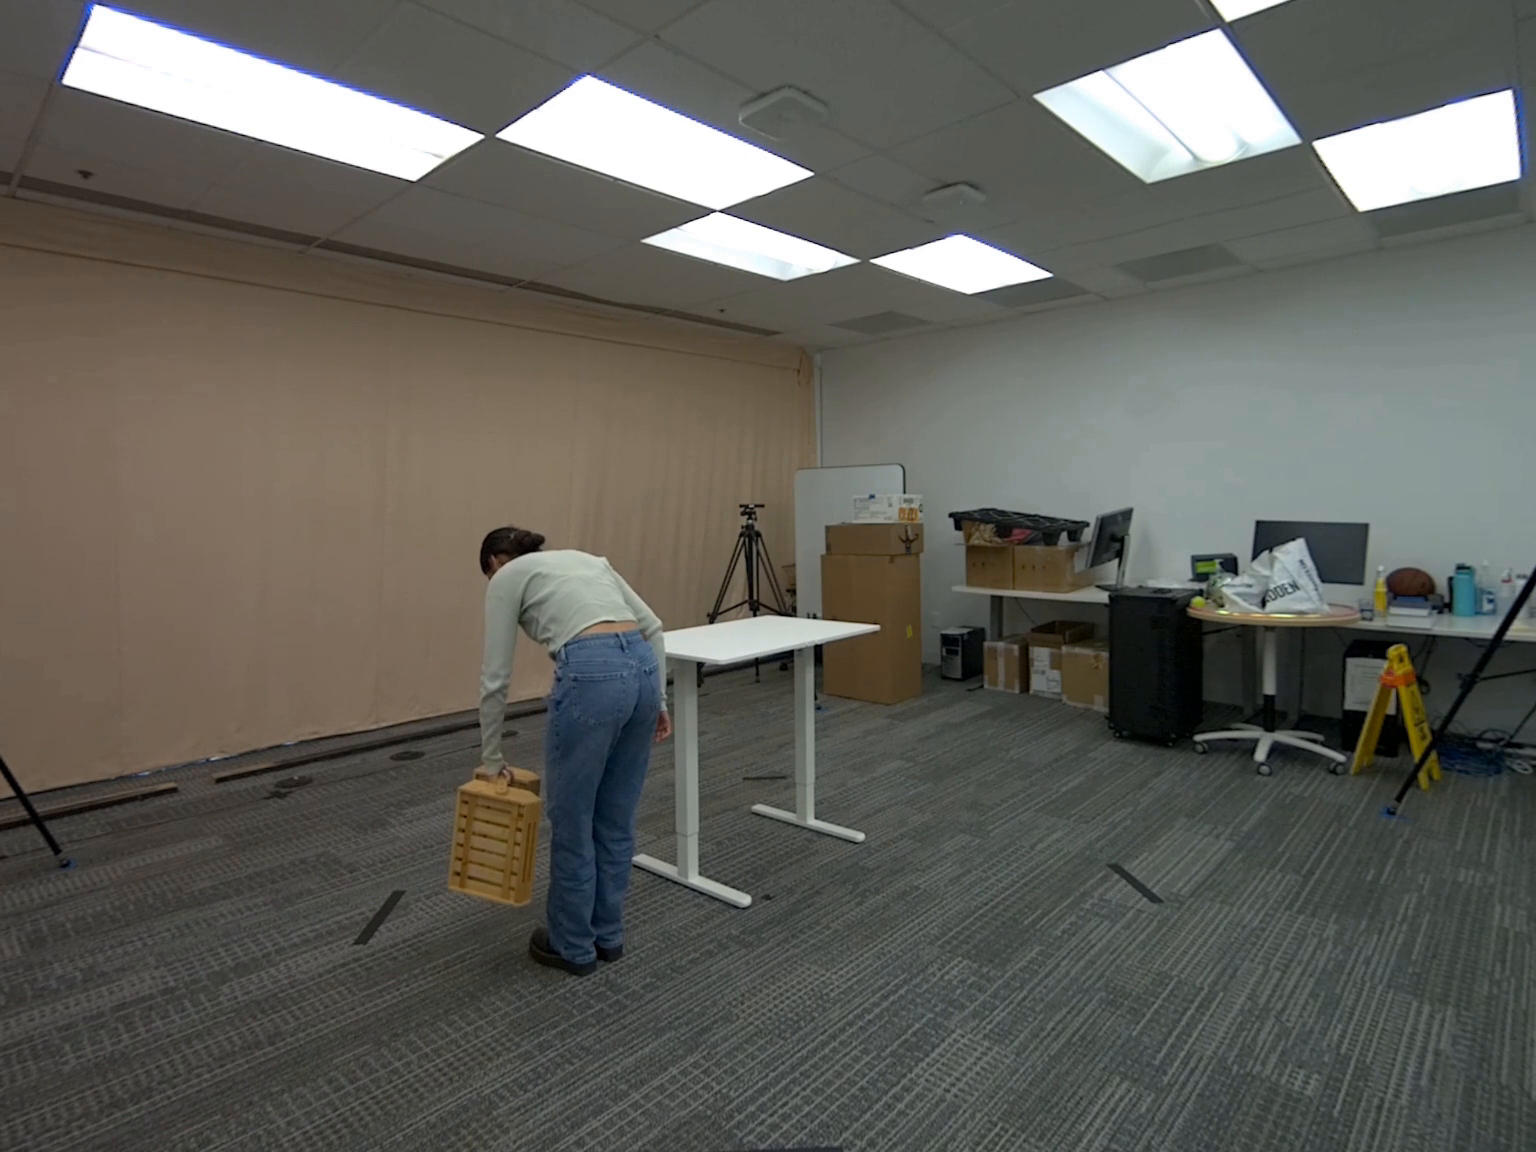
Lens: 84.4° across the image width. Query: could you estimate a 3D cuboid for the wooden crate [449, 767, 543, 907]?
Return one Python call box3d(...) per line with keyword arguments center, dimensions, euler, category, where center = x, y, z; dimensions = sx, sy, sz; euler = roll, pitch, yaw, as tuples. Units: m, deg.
box3d(center=(-0.796, 0.781, 2.549), dimensions=(0.307, 0.324, 0.270), euler=(7, 4, 13), category="wooden crate")
